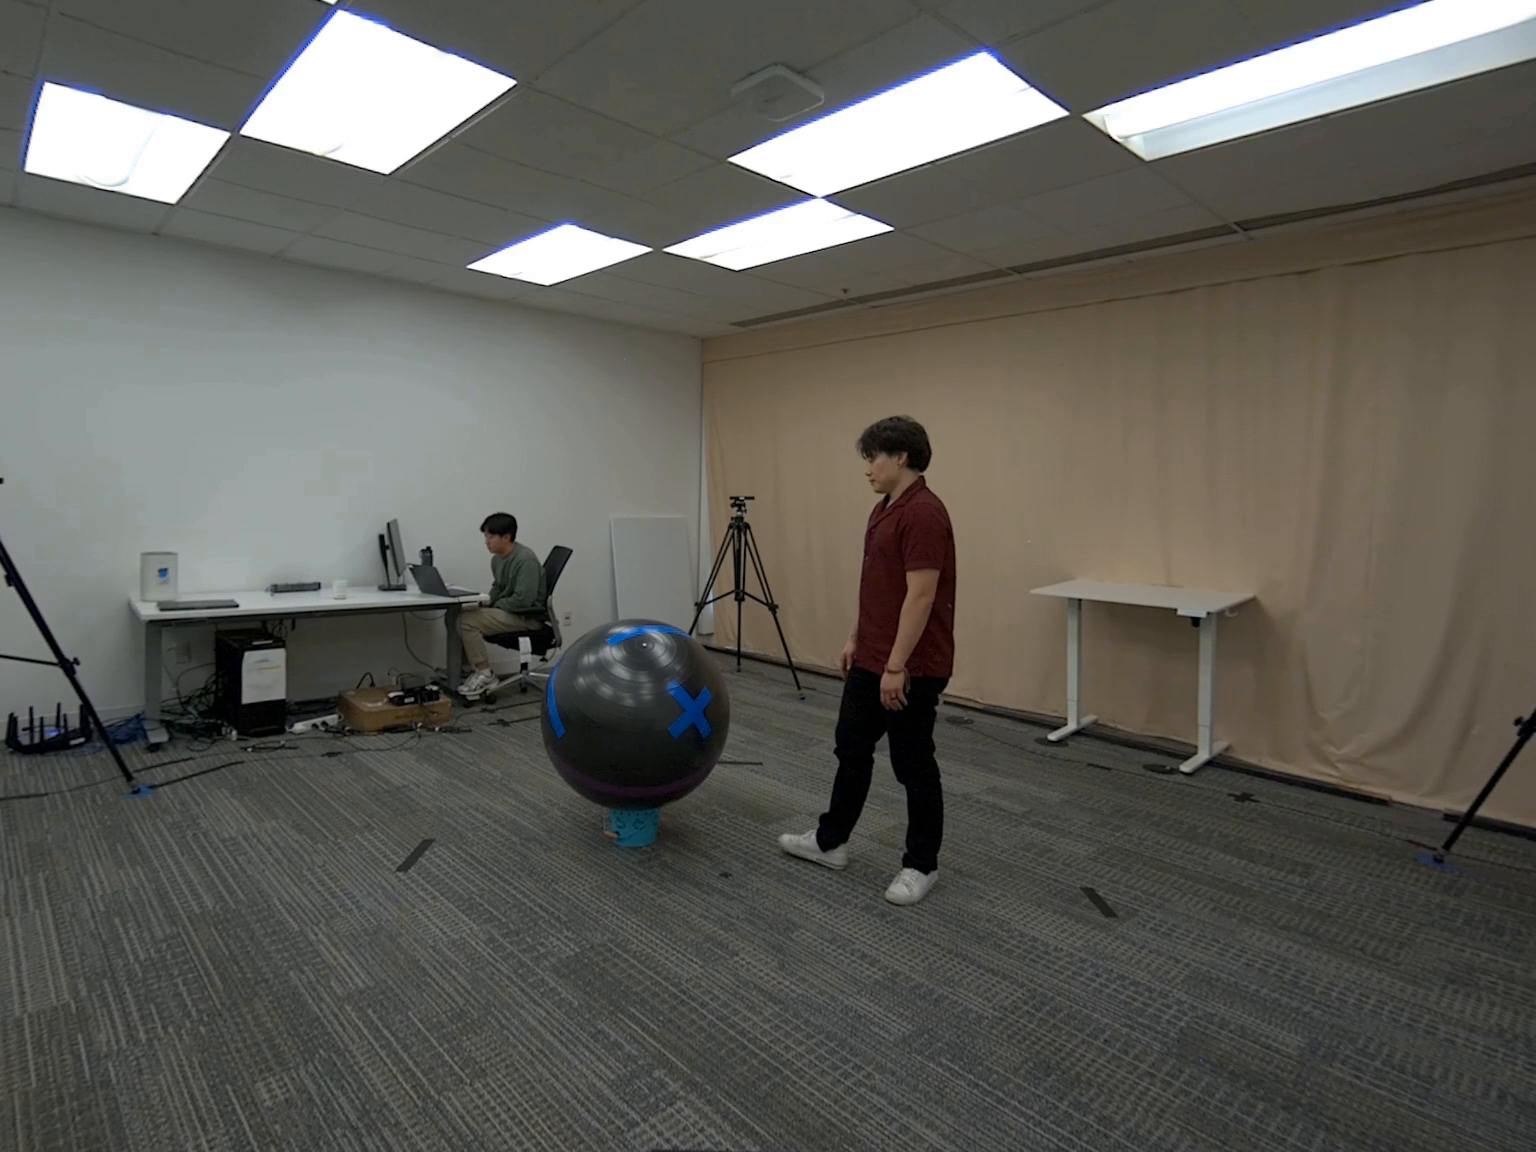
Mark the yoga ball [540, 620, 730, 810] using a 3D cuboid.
[{"bbox_3d":[-0.537,0.554,3.403,0.757,0.756,0.761,1,4,-1],"label":"yoga ball"}]
